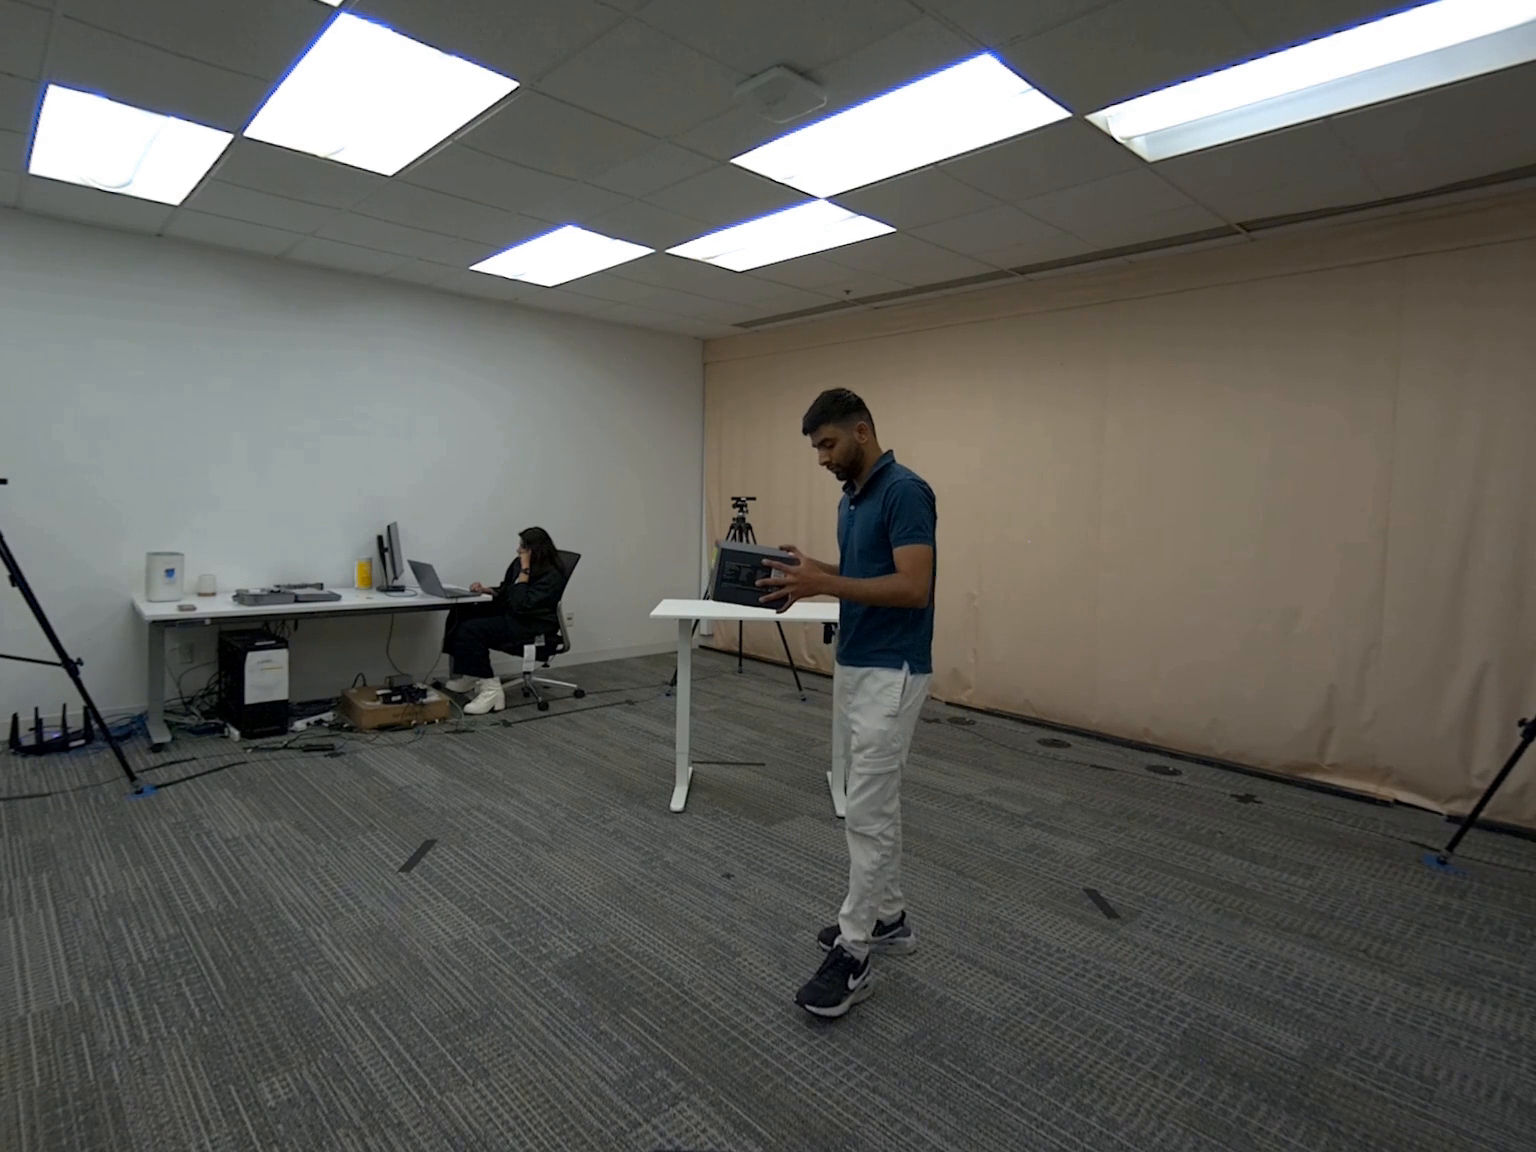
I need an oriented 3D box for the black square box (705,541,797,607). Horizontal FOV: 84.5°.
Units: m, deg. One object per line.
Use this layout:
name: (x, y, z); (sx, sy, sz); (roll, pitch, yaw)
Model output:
black square box: (-0.059, -0.004, 2.464); (0.216, 0.155, 0.229); (9, 7, -4)
